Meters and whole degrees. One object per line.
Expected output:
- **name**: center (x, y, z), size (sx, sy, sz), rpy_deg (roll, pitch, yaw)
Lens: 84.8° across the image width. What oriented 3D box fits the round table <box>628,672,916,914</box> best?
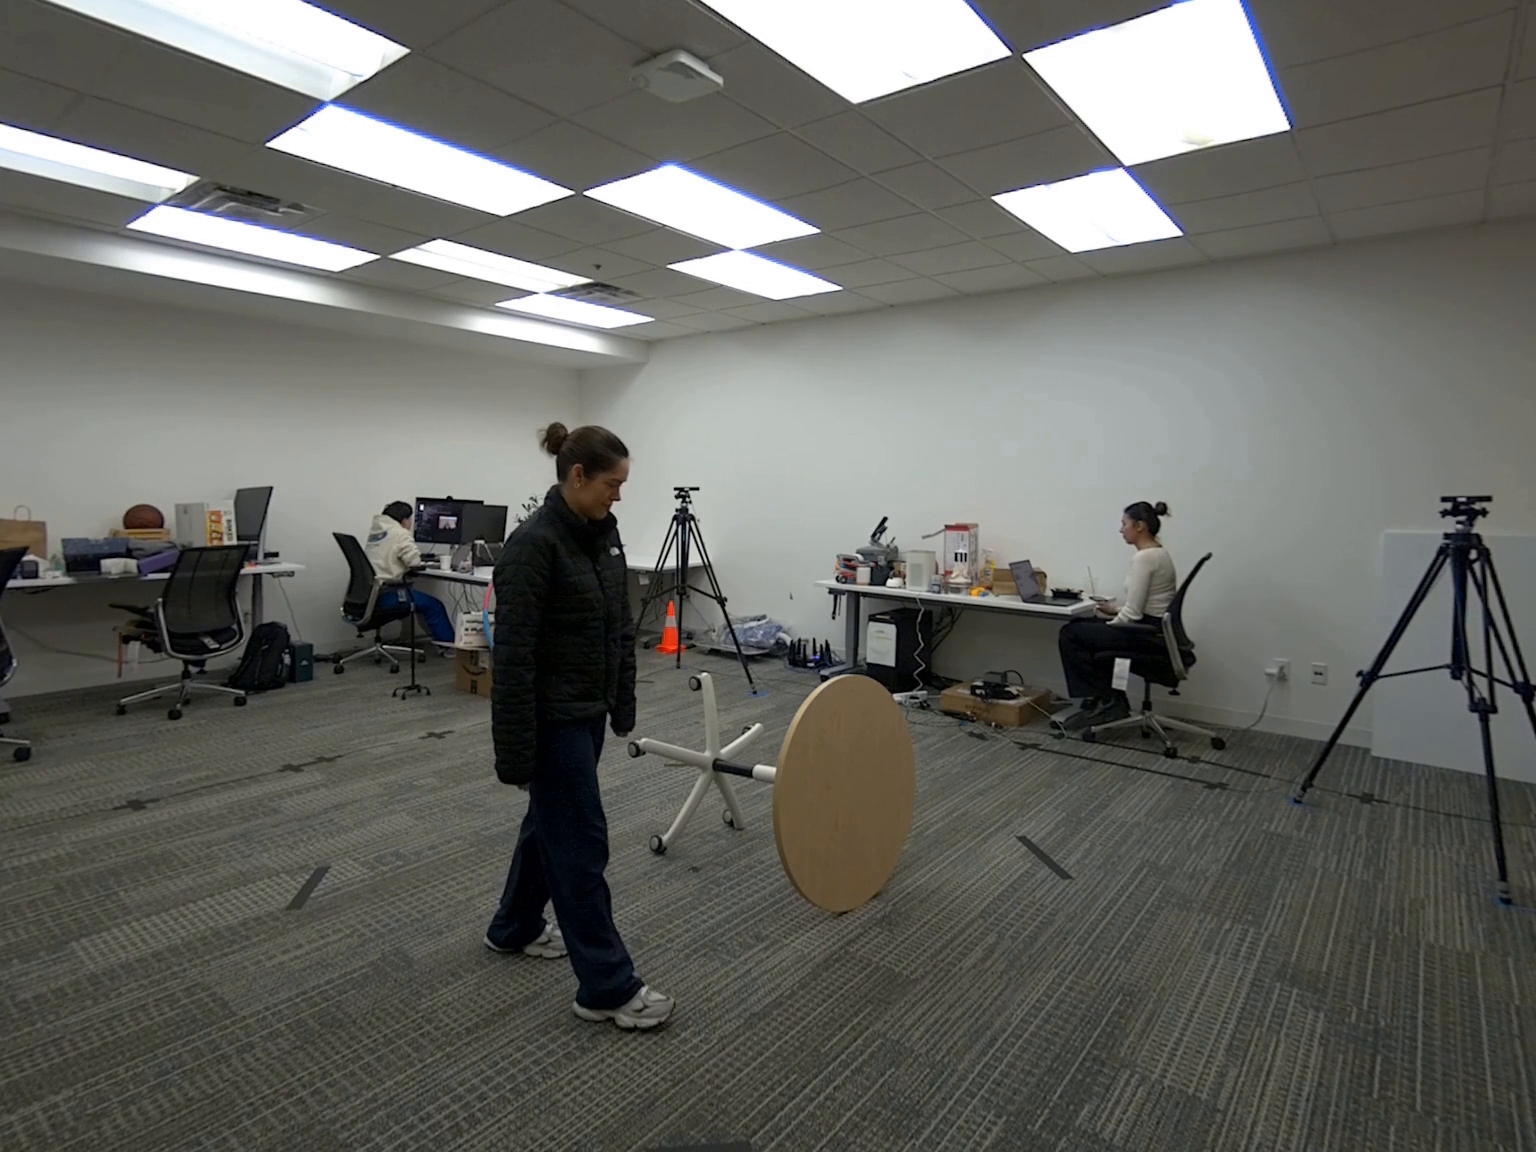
- **round table**: center (0.009, 0.727, 3.159), size (0.810, 0.785, 0.761), rpy_deg (-3, 1, 44)
